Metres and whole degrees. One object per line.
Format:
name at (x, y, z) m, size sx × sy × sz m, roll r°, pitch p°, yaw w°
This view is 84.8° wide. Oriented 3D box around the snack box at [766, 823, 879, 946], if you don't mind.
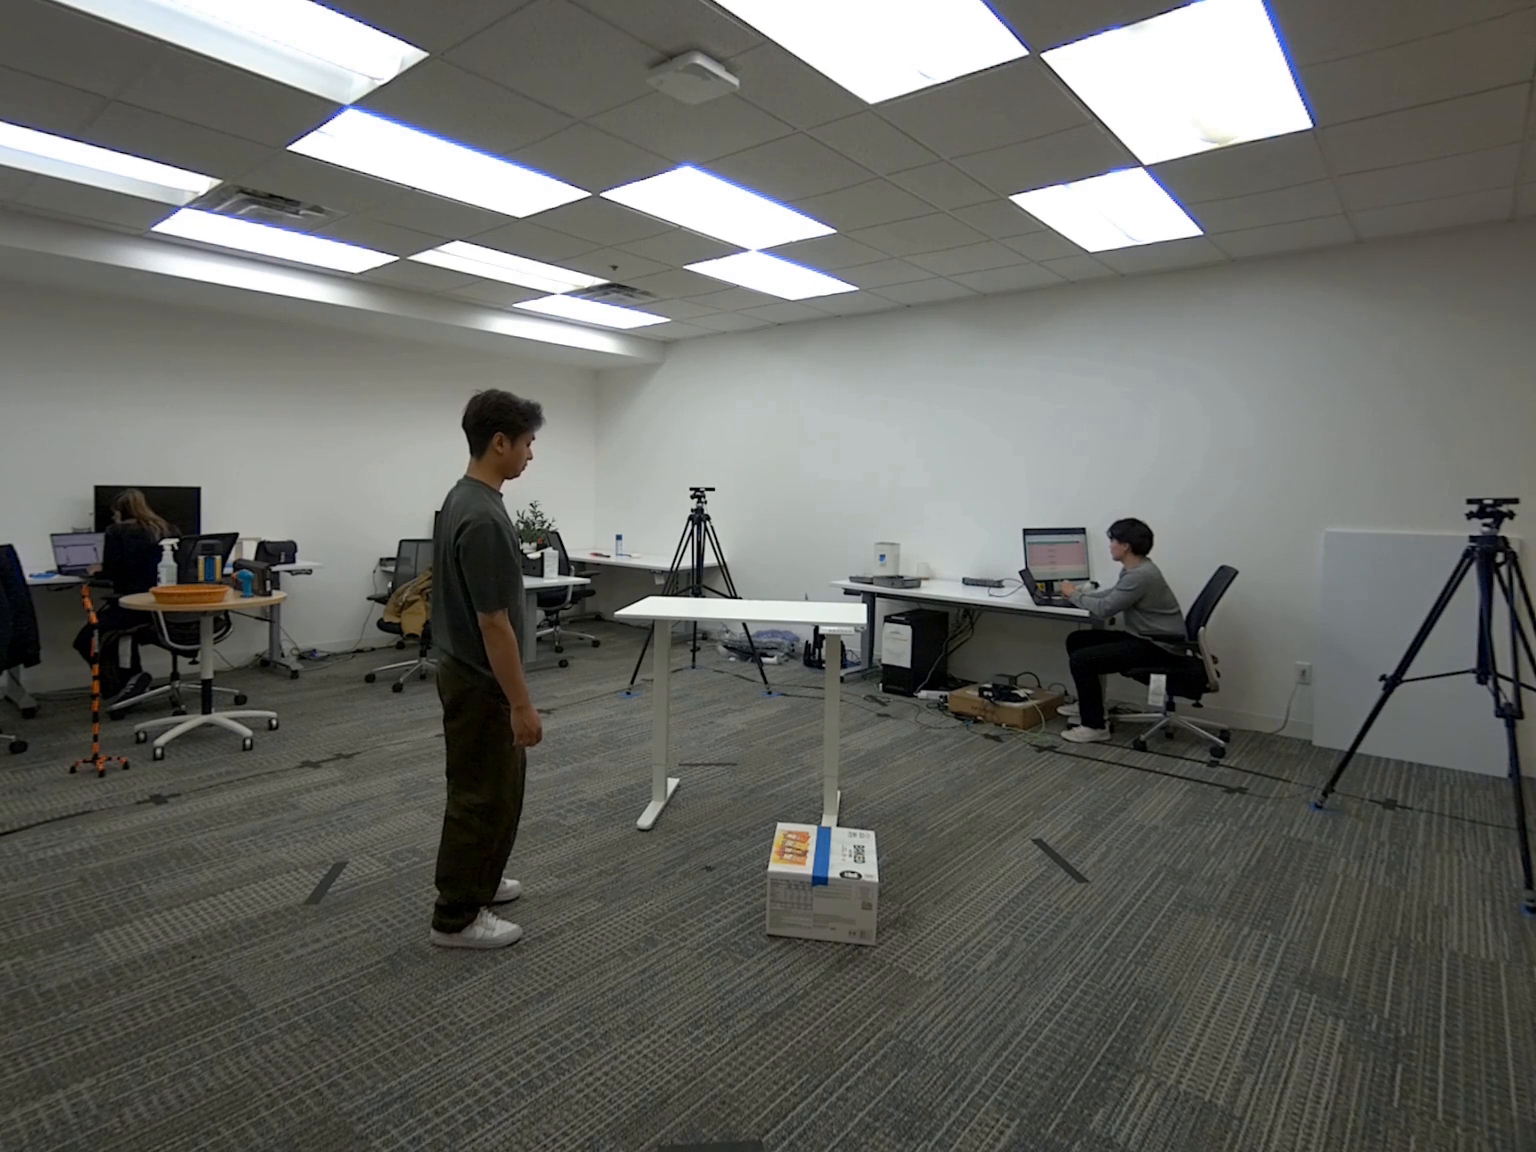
snack box at (0.175, 1.005, 2.806) m, size 0.343 × 0.205 × 0.403 m, roll 2°, pitch 5°, yaw 7°
